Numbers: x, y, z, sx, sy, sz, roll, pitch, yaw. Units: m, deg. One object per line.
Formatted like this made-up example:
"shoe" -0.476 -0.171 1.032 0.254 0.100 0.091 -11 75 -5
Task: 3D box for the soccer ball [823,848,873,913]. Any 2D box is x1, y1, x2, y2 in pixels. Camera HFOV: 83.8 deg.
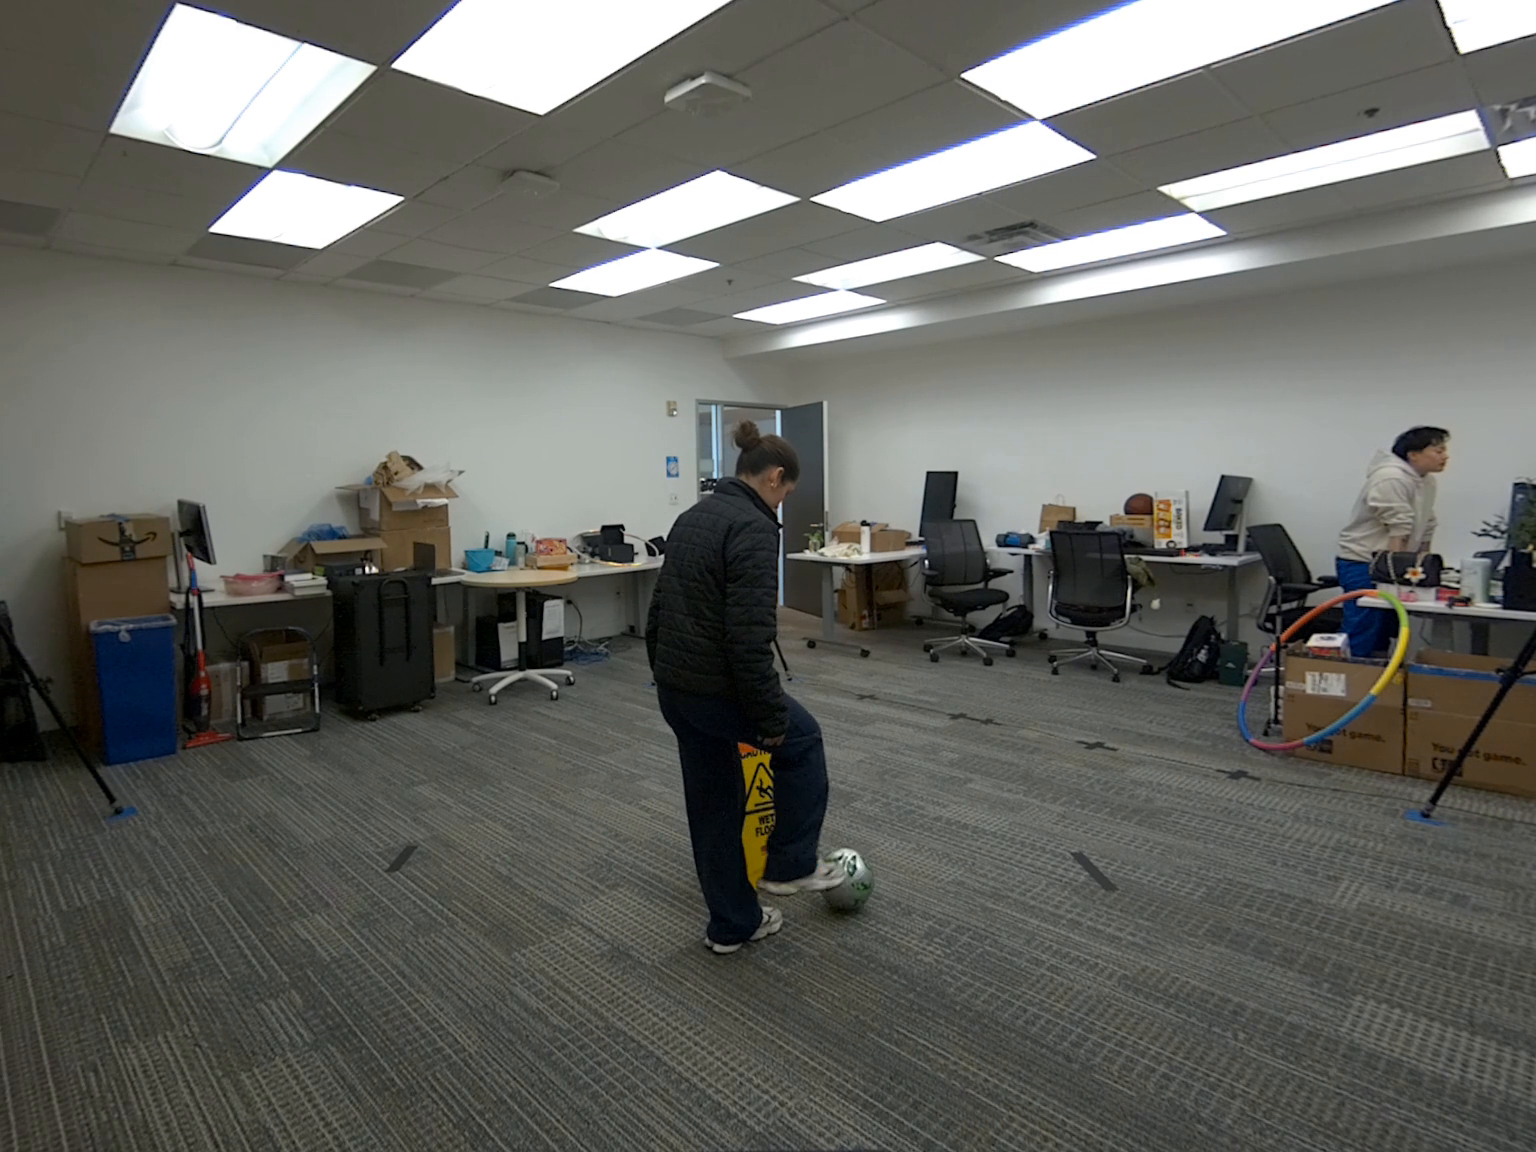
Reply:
"soccer ball" 0.253 0.977 2.766 0.187 0.187 0.188 -1 5 -2
